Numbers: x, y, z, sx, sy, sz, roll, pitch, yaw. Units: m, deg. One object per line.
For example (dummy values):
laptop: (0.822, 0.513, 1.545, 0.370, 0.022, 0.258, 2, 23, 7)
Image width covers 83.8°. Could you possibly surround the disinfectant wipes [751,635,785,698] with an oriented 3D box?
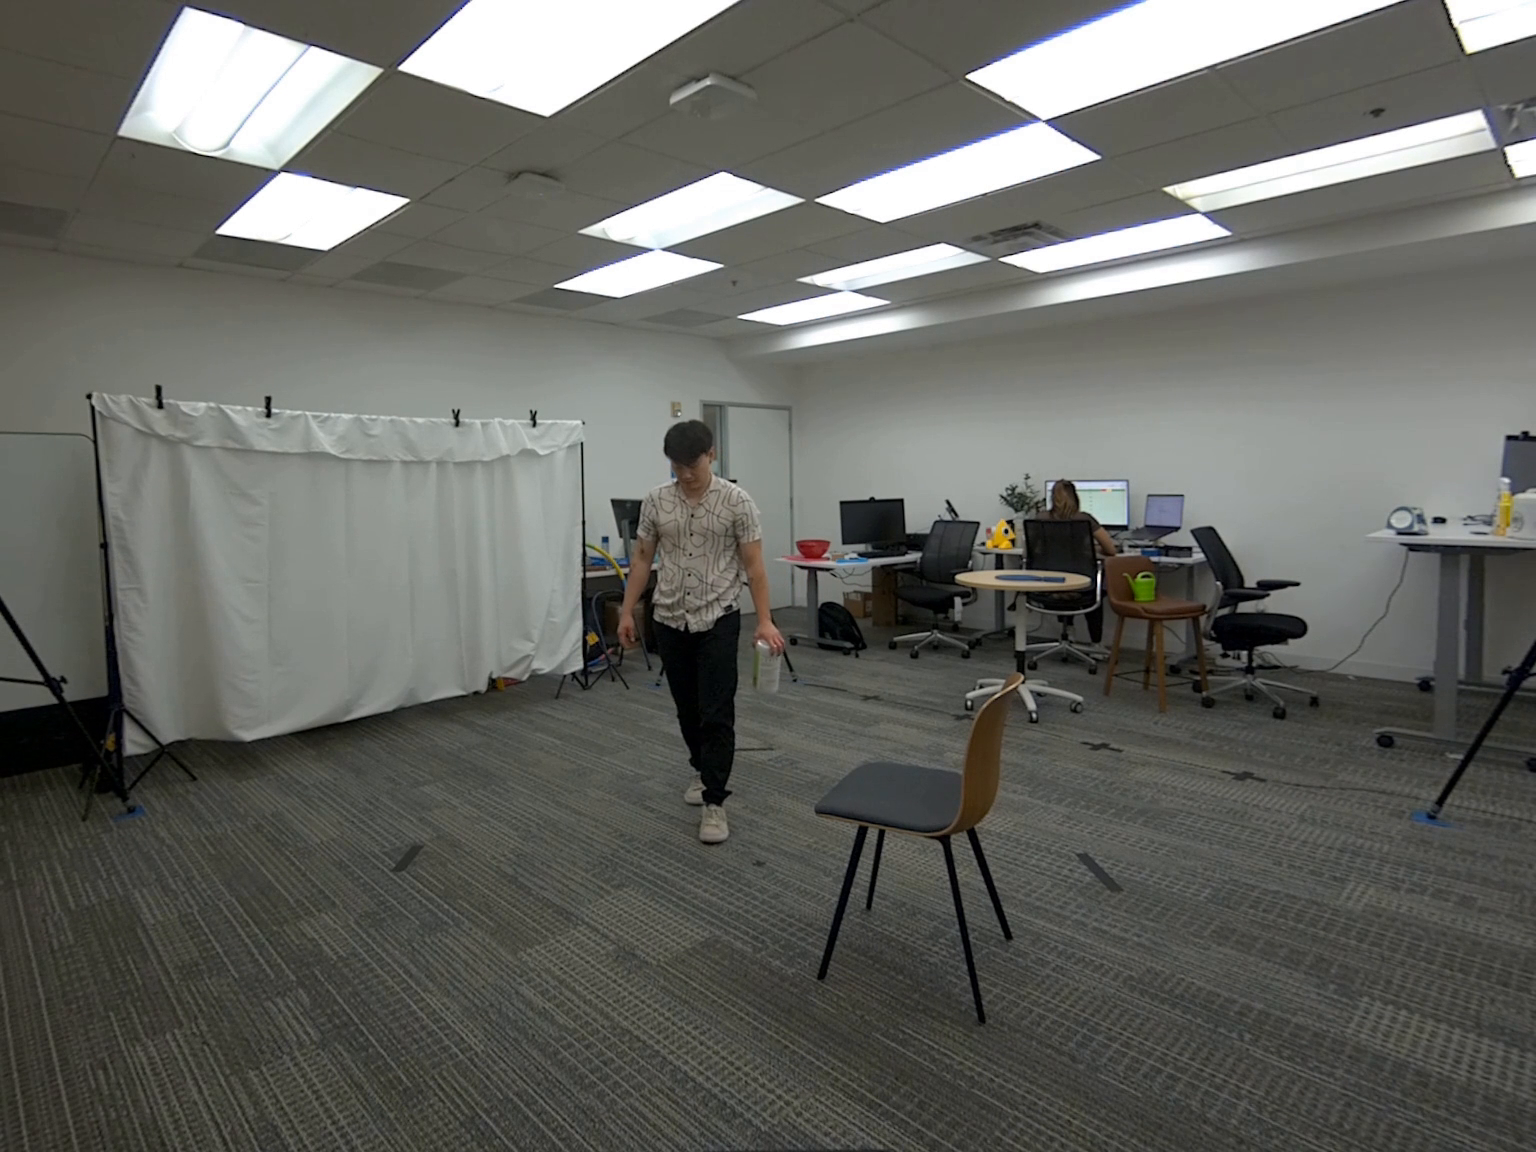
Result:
disinfectant wipes: (-0.004, 0.368, 3.498, 0.117, 0.214, 0.119, 2, 16, -2)
